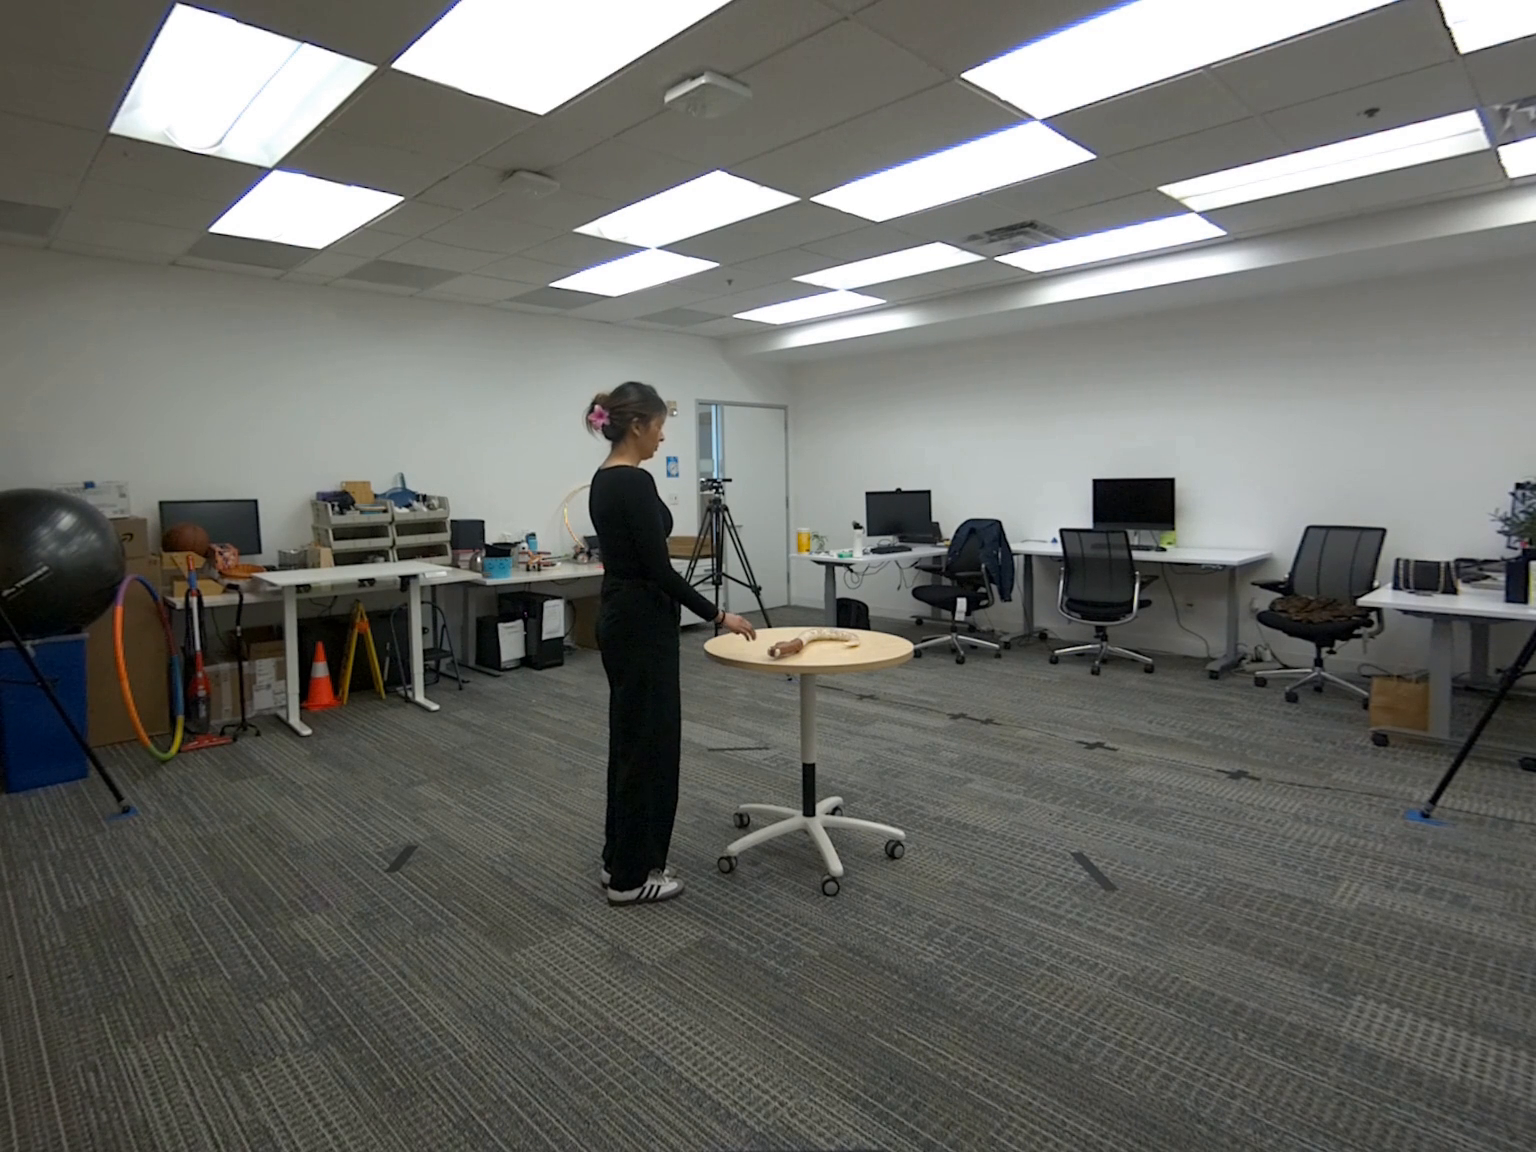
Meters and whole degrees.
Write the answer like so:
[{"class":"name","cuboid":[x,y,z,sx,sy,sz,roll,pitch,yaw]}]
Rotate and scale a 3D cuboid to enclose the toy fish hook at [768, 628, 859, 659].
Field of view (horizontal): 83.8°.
[{"class":"toy fish hook","cuboid":[0.190,0.246,3.039,0.230,0.048,0.496,1,6,28]}]
